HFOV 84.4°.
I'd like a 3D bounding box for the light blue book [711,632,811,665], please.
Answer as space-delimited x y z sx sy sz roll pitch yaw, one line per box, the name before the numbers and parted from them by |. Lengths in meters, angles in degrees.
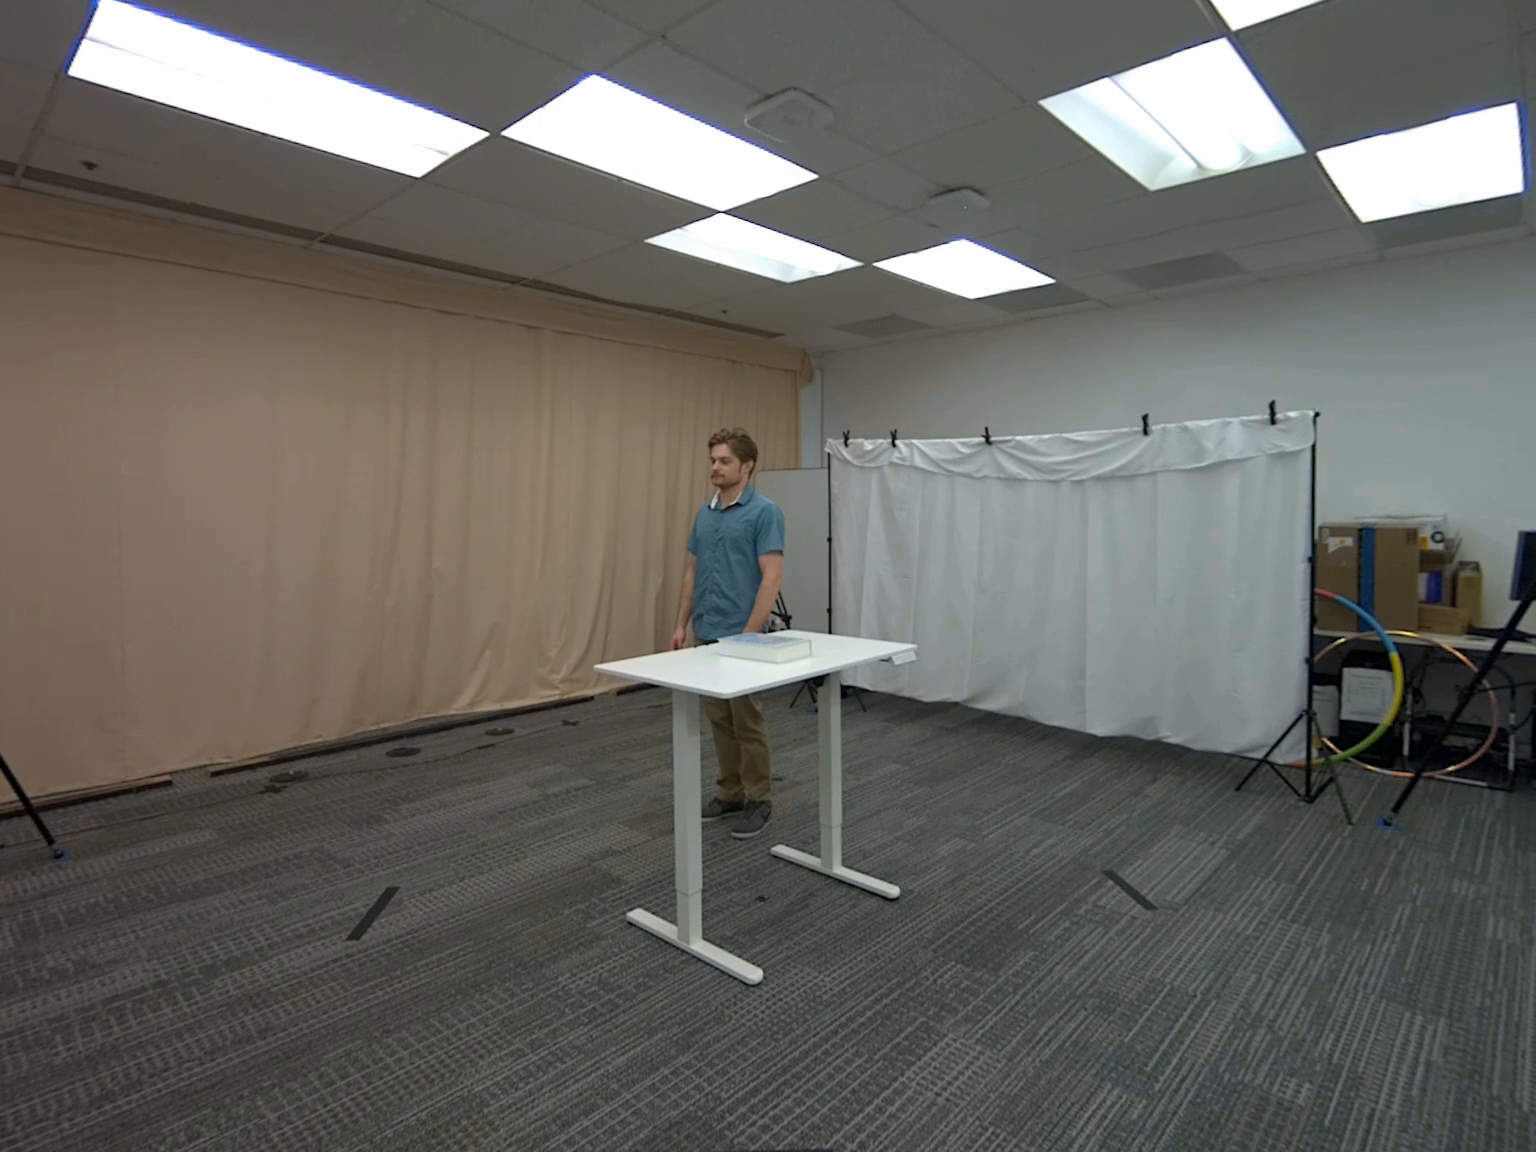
light blue book | -0.010 0.242 2.863 0.270 0.059 0.185 4 6 40
